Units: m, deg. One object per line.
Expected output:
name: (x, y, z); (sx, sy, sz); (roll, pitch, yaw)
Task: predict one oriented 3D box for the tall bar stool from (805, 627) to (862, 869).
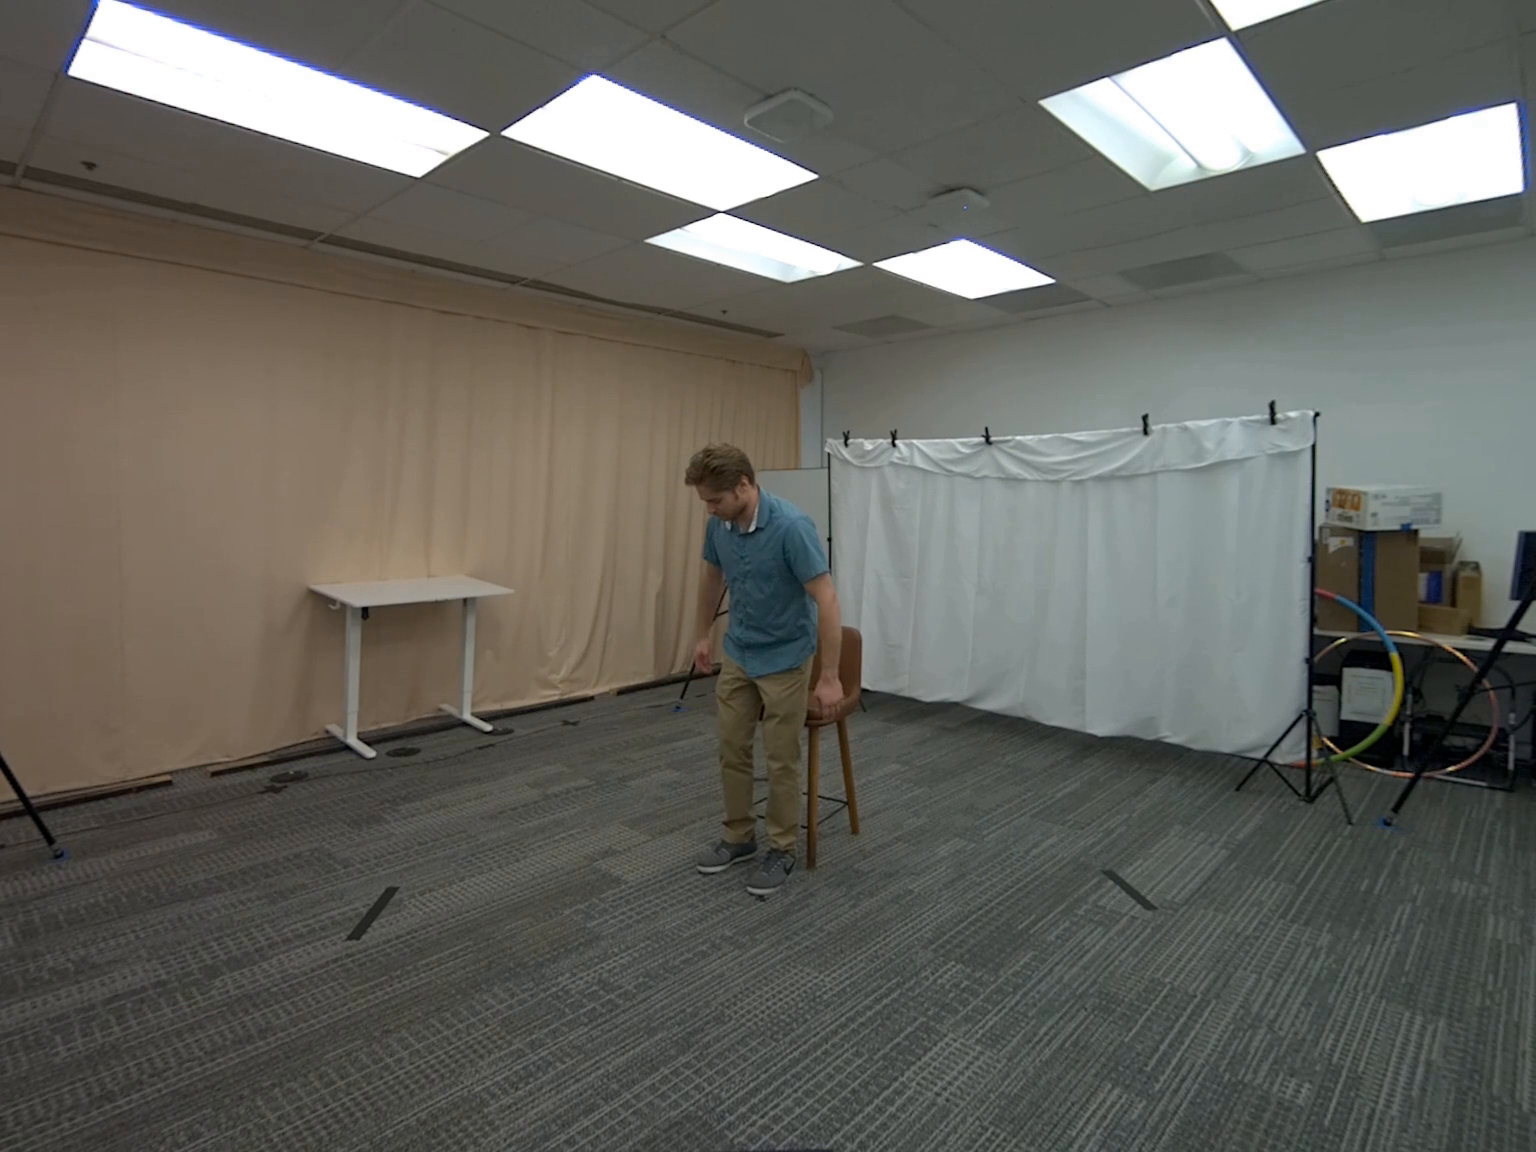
tall bar stool: (0.120, 0.663, 3.484); (0.470, 0.889, 0.454); (3, 2, 33)
